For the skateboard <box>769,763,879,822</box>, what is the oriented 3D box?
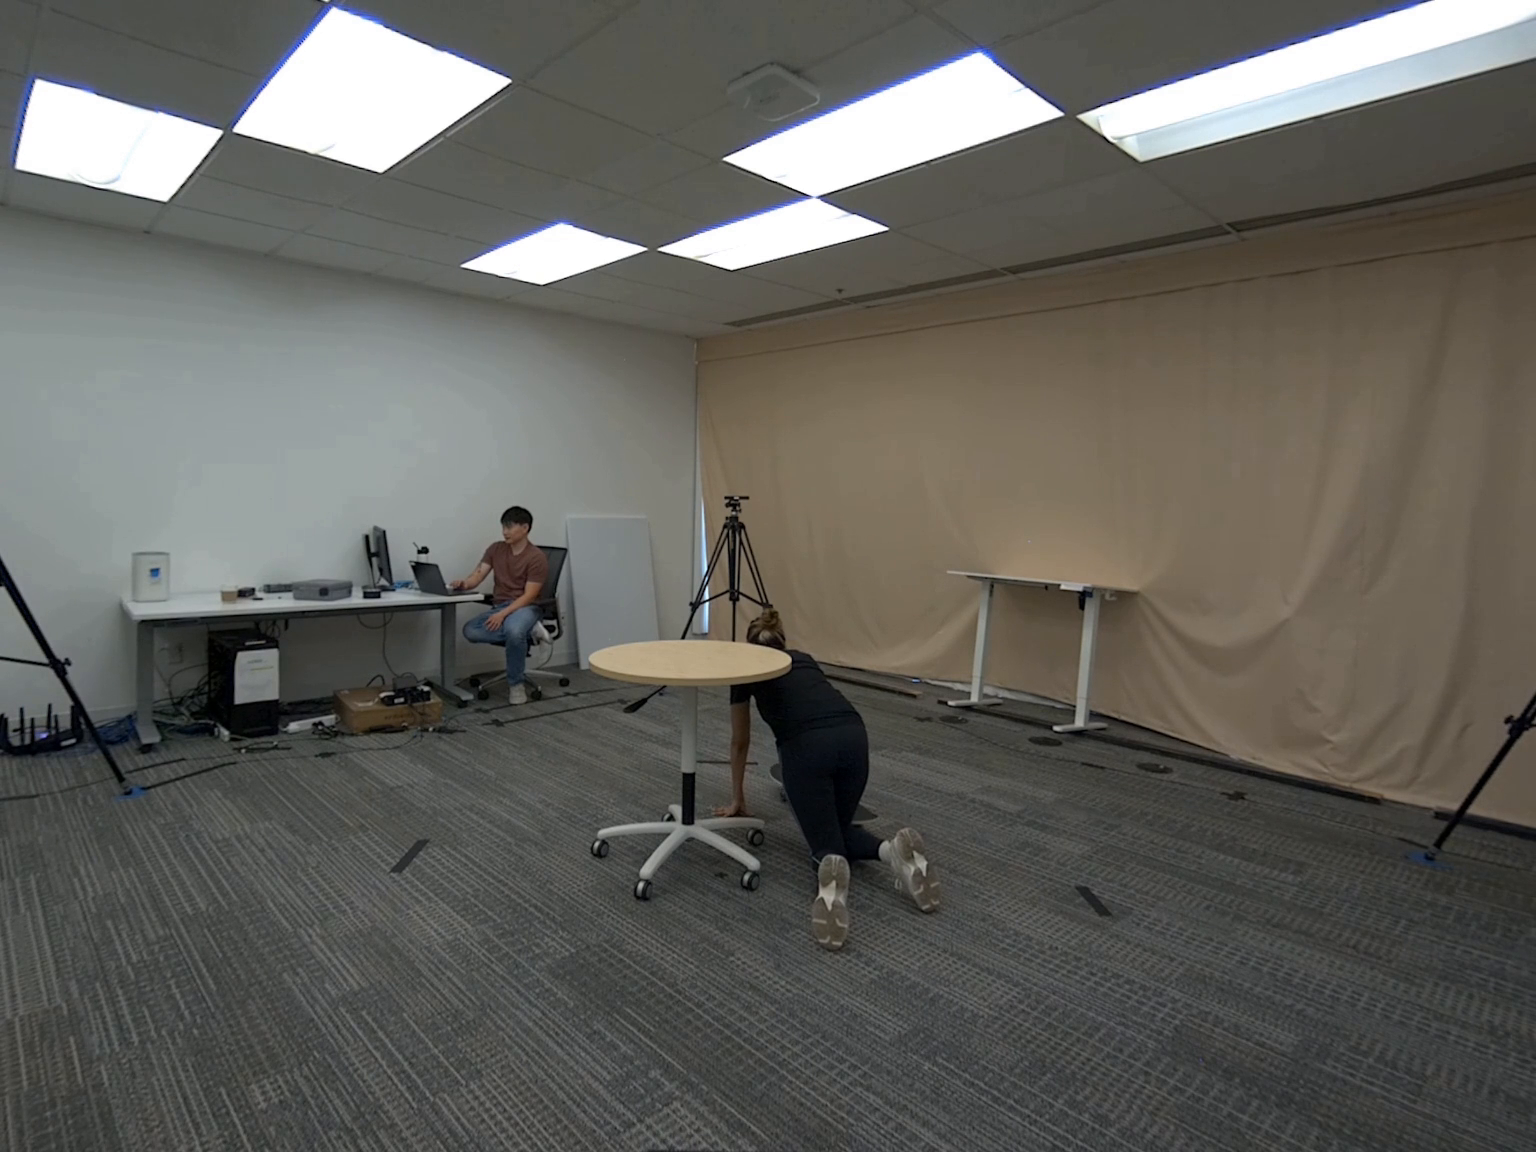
[{"bbox_3d":[0.223,1.001,3.756,0.190,0.110,0.801,-1,5,-25],"label":"skateboard"}]
